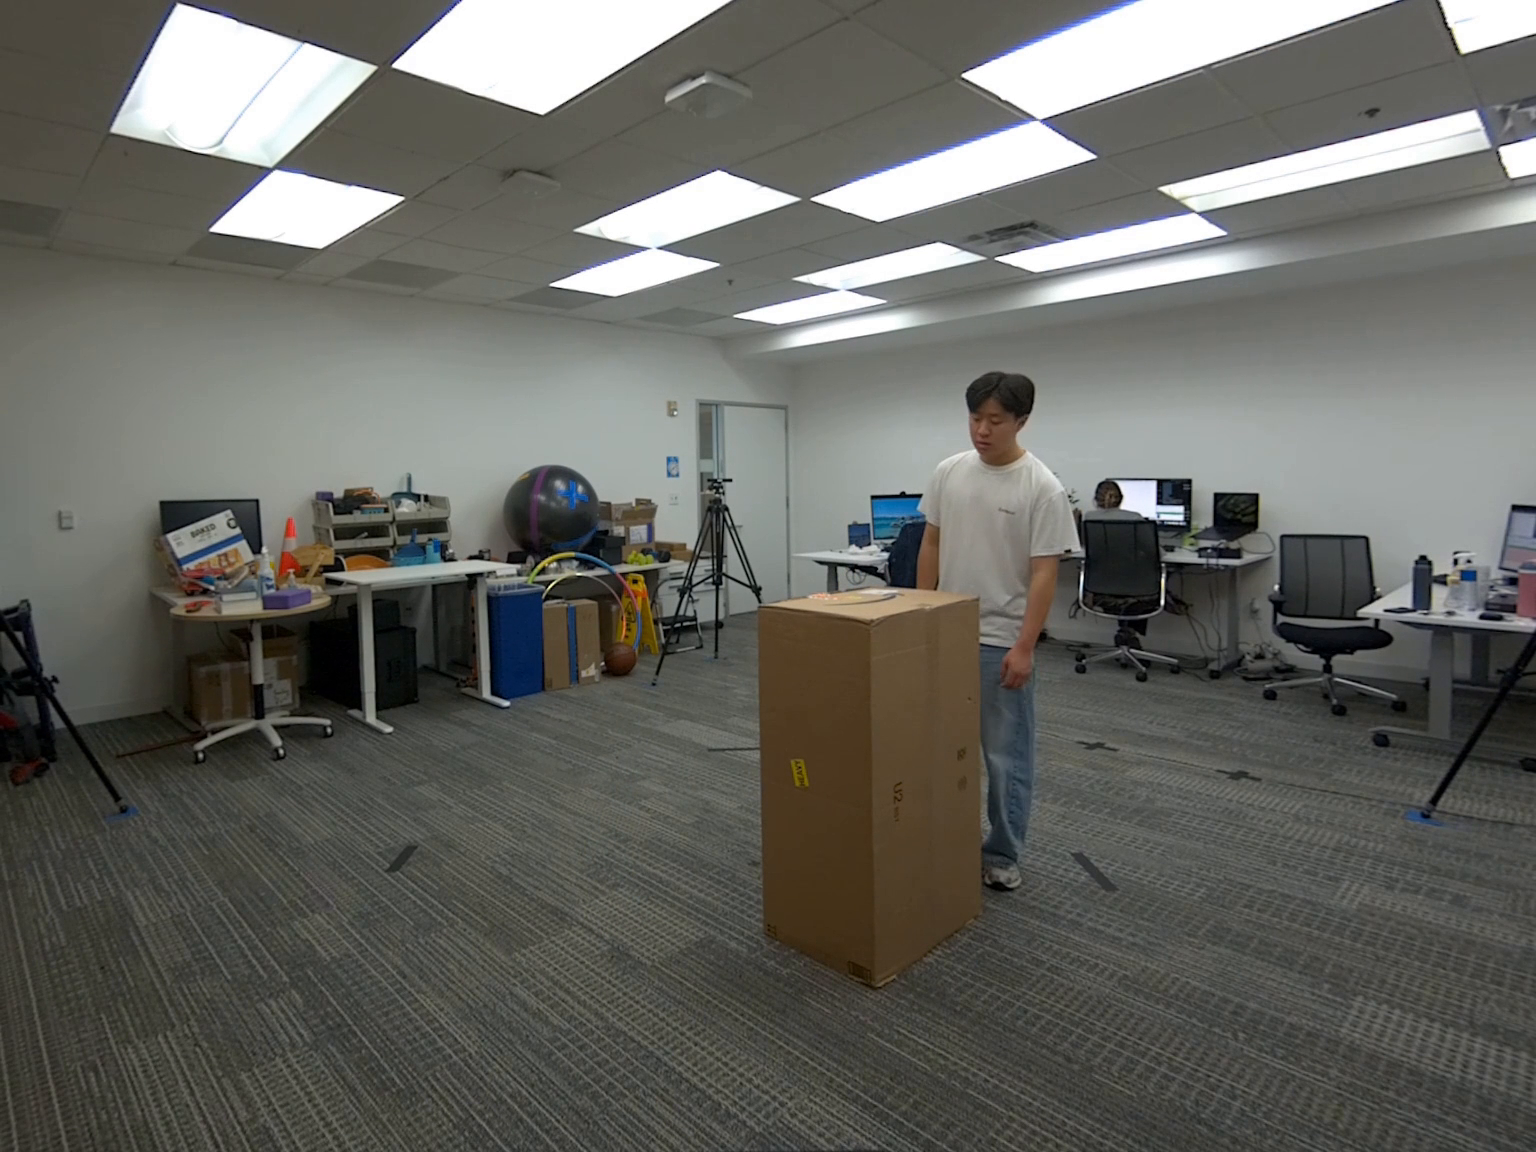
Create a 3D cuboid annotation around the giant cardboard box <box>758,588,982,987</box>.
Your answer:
[{"bbox_3d":[0.326,0.583,2.642,0.439,1.023,0.562,2,5,45],"label":"giant cardboard box"}]
